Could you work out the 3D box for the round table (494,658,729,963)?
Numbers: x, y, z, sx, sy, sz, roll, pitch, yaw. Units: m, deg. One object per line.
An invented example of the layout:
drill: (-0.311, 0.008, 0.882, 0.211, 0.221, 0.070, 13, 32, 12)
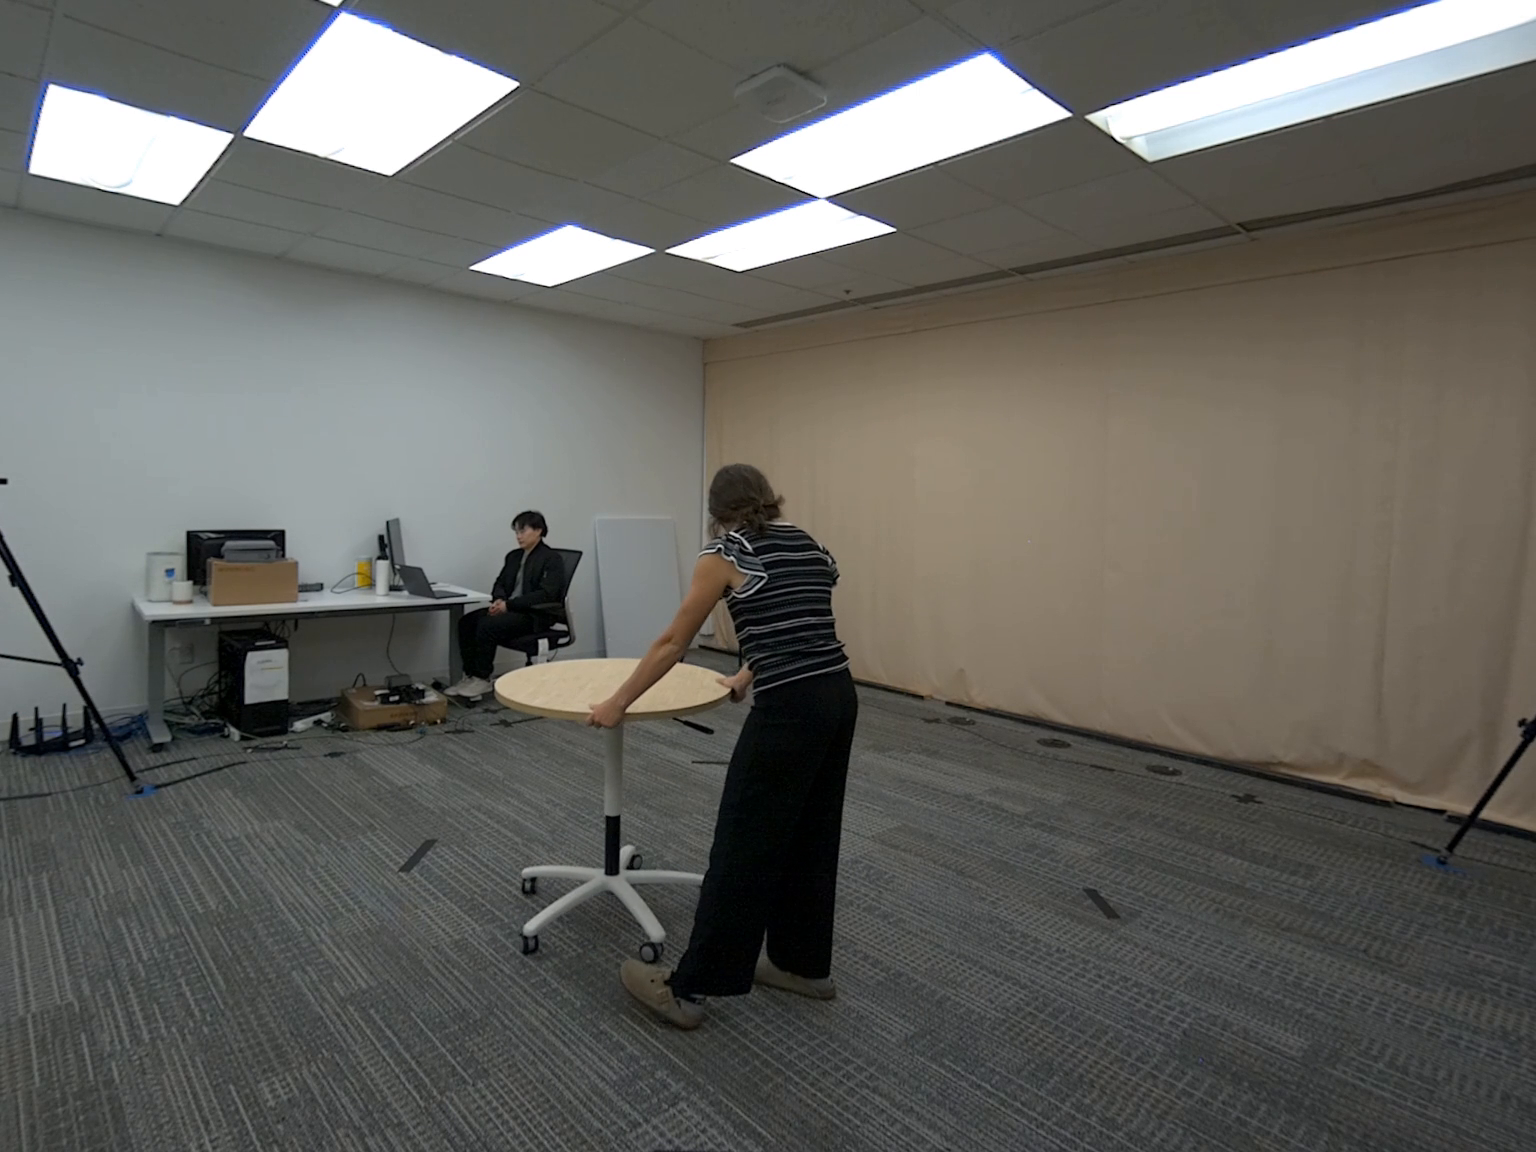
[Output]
round table: (-0.519, 0.740, 2.784, 0.763, 0.791, 0.767, 1, 5, -1)
